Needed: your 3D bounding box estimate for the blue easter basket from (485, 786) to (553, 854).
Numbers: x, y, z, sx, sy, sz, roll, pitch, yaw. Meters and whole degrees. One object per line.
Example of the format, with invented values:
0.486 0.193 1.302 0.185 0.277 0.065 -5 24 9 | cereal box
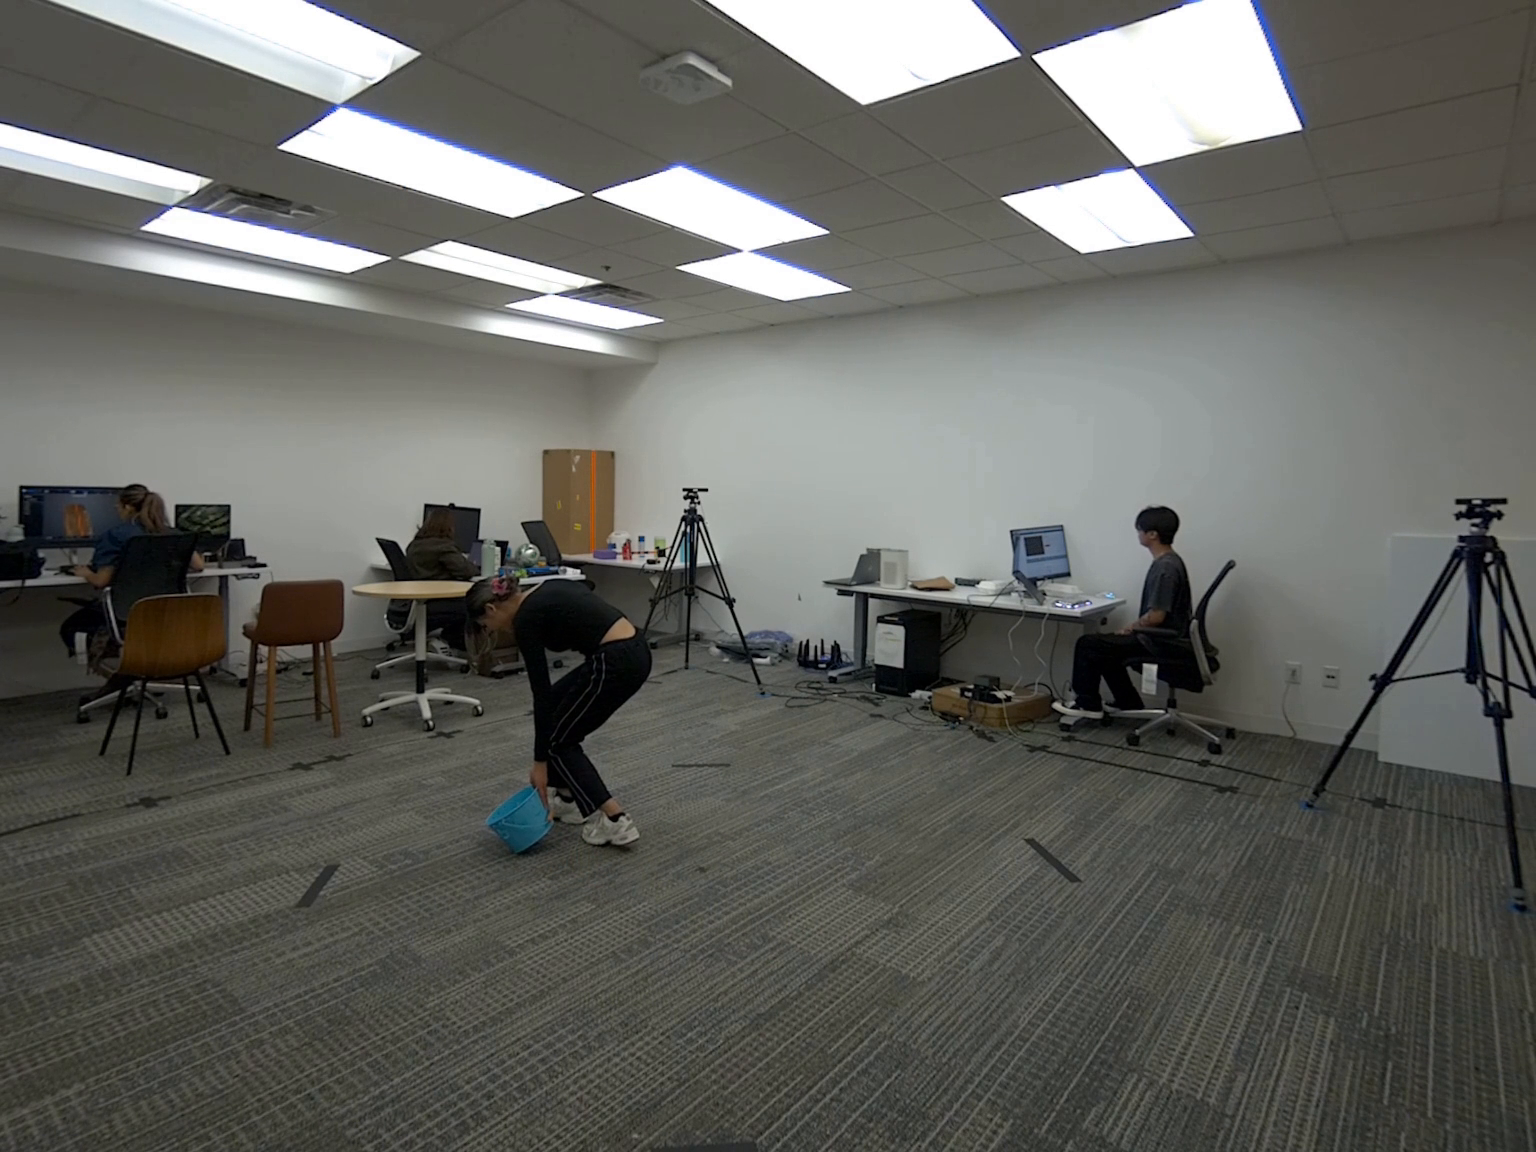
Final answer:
-0.957 0.938 3.250 0.244 0.155 0.245 -32 7 2 | blue easter basket
